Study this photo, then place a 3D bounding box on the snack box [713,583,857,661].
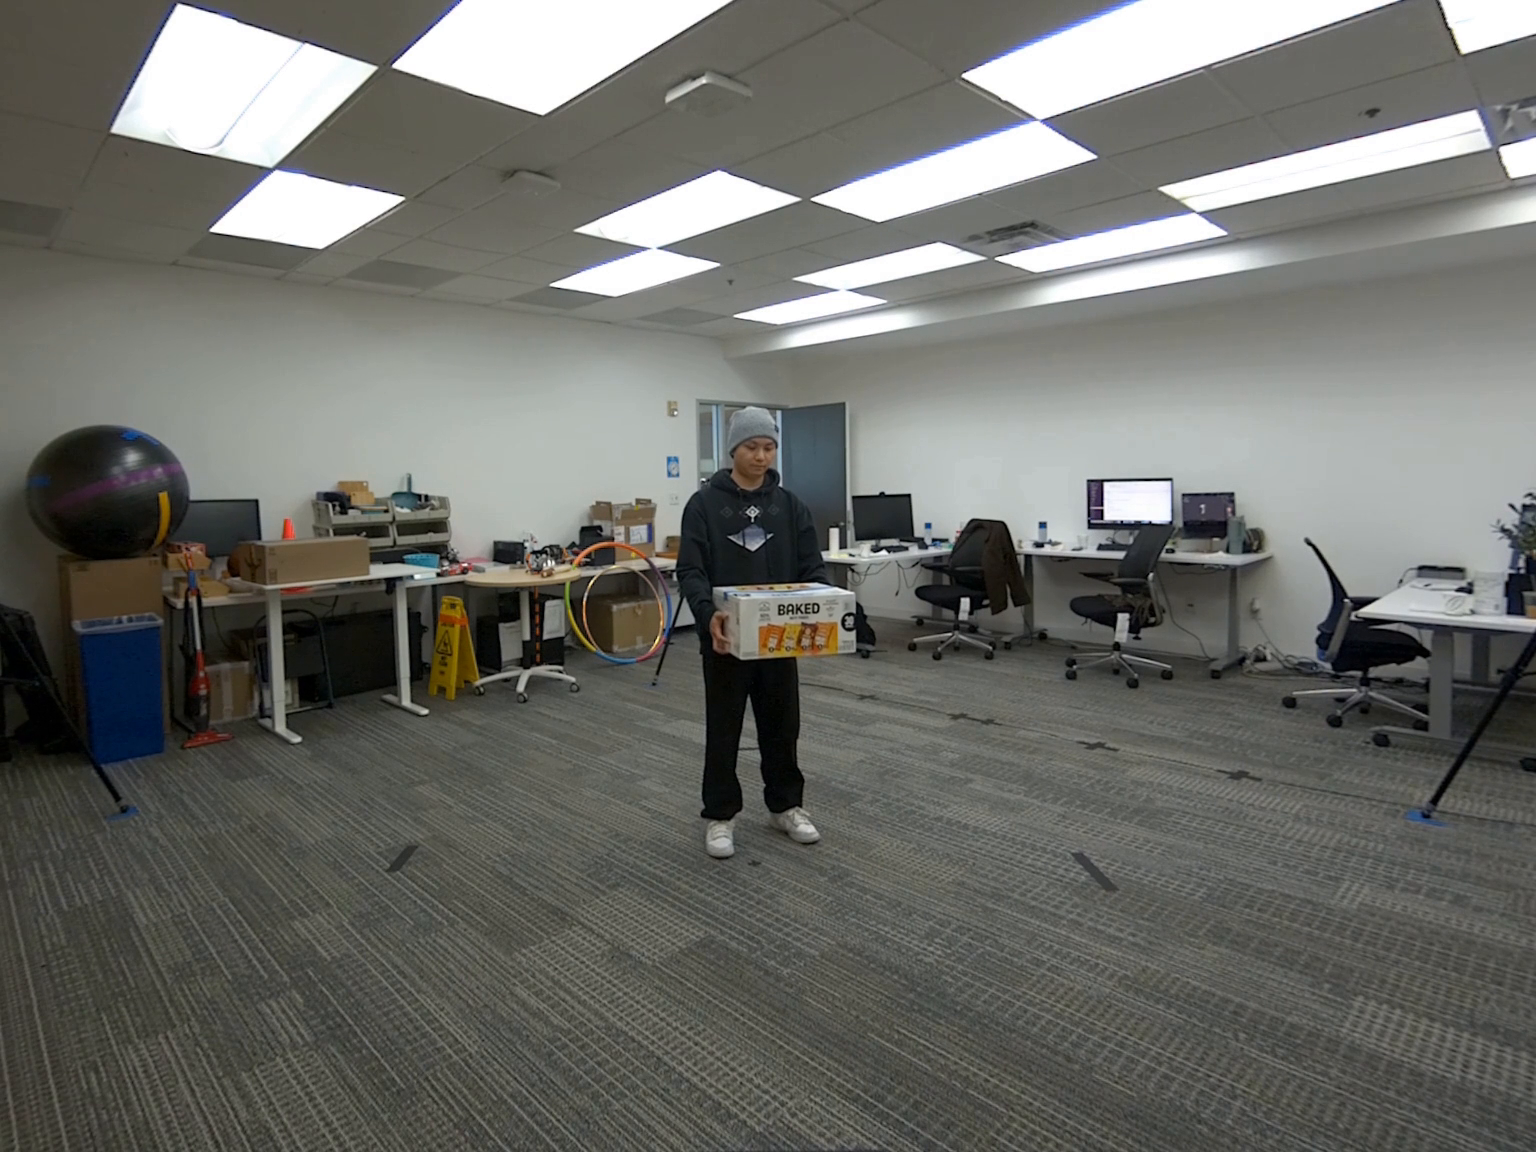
[{"bbox_3d":[0.046,0.152,2.949,0.399,0.205,0.346,-3,4,-16],"label":"snack box"}]
